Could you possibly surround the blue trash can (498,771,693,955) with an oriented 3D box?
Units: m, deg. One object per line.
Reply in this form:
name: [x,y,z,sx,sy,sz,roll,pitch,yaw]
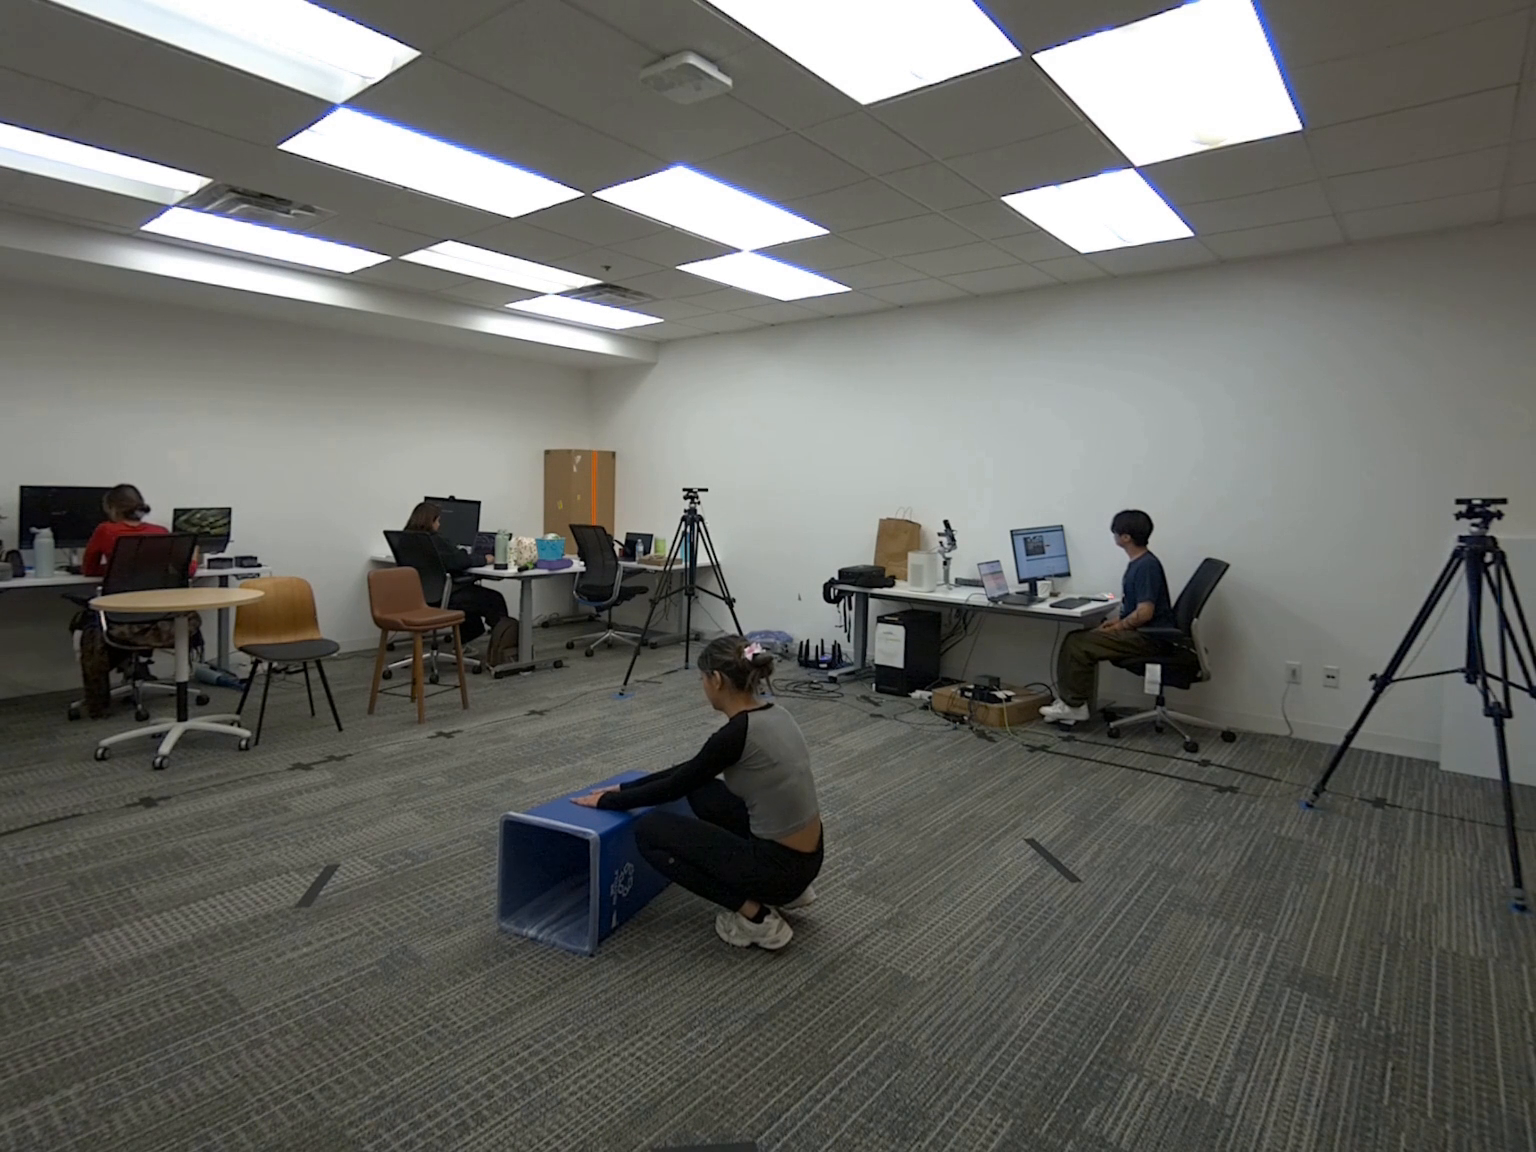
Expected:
blue trash can: [-0.549,0.918,2.901,0.384,0.378,0.696,2,2,24]
